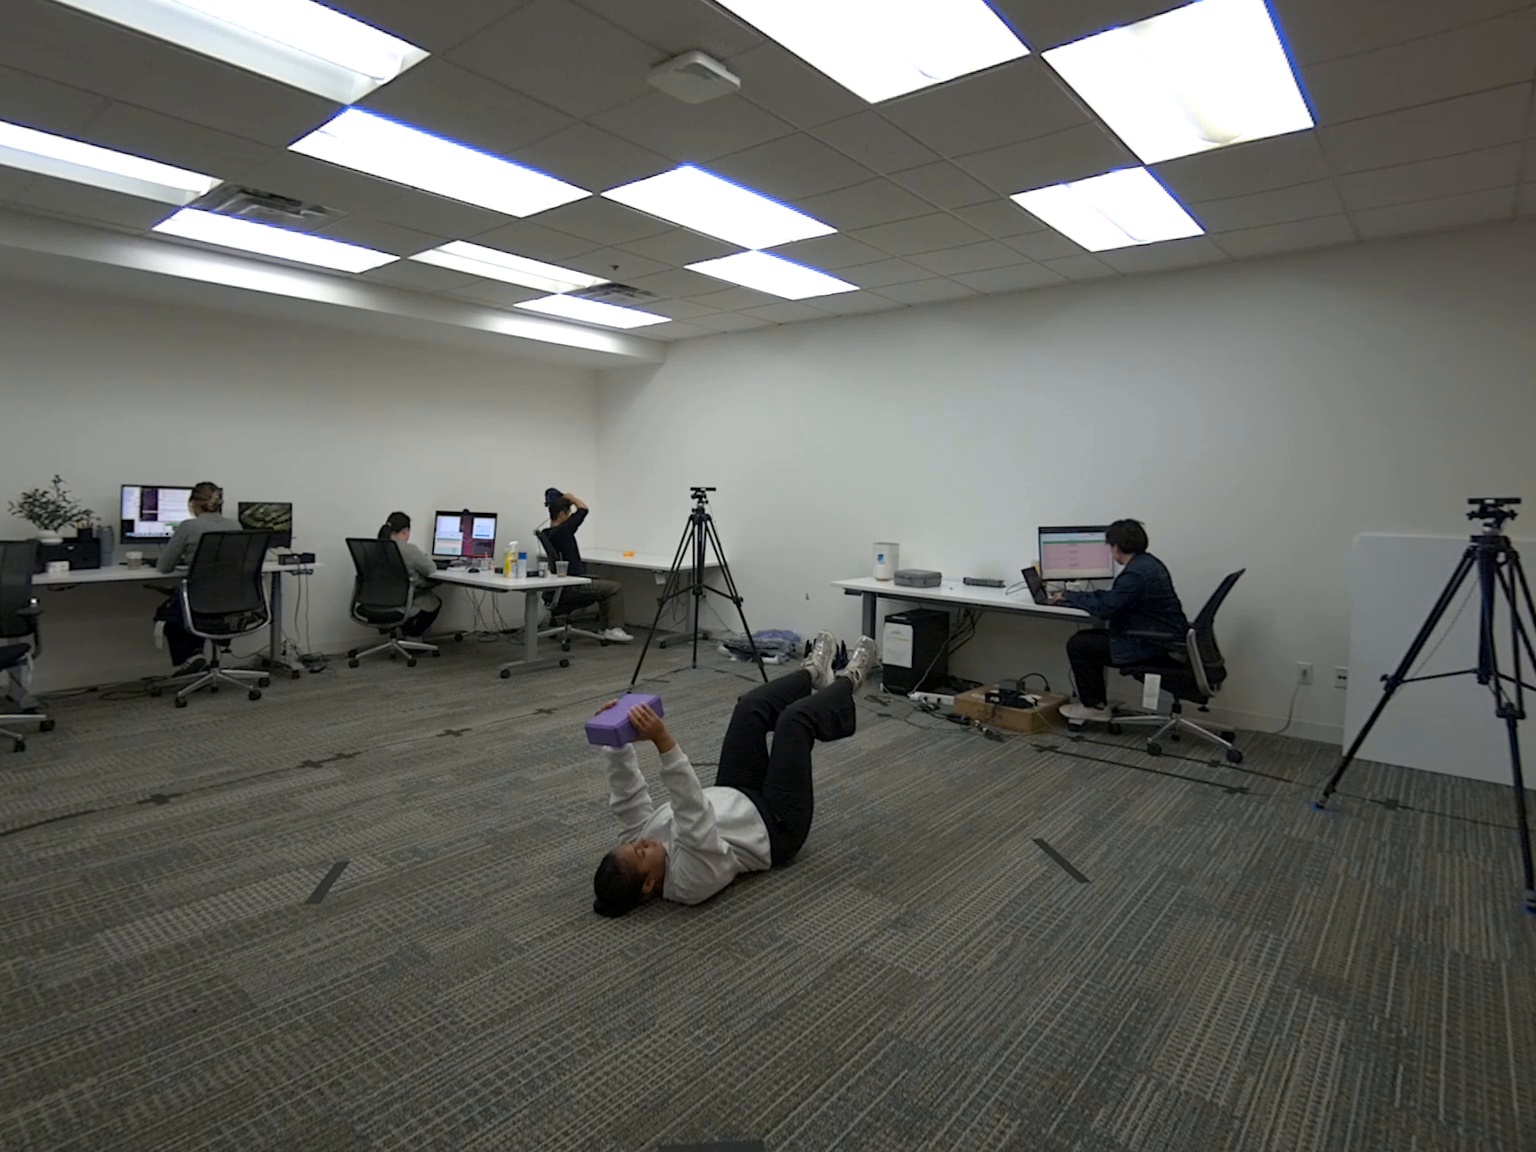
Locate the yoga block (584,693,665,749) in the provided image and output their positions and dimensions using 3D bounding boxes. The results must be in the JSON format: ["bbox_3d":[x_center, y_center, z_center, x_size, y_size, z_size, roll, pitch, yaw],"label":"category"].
[{"bbox_3d":[-0.481,0.464,2.758,0.153,0.075,0.226,-4,16,34],"label":"yoga block"}]
